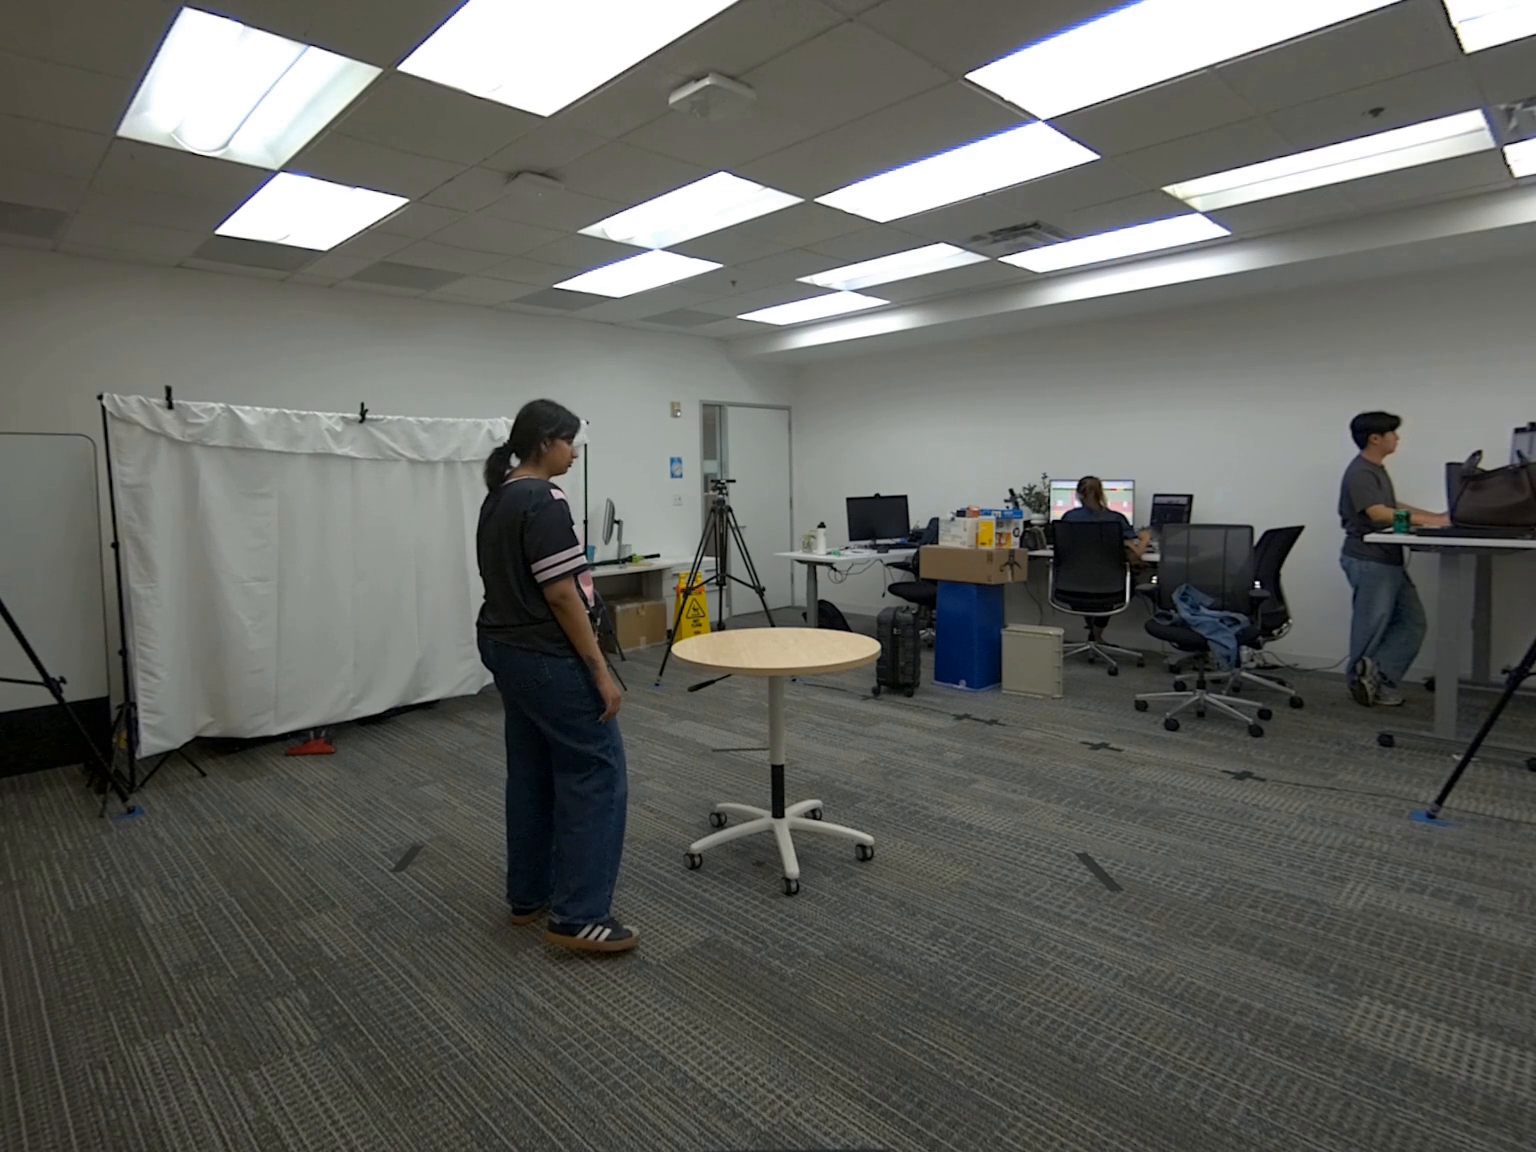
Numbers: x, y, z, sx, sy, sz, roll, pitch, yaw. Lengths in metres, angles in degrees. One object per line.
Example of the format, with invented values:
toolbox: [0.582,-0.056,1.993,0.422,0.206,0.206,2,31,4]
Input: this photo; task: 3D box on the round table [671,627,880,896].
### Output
round table: [0.035,0.649,3.171,0.763,0.791,0.768,-1,5,-2]
